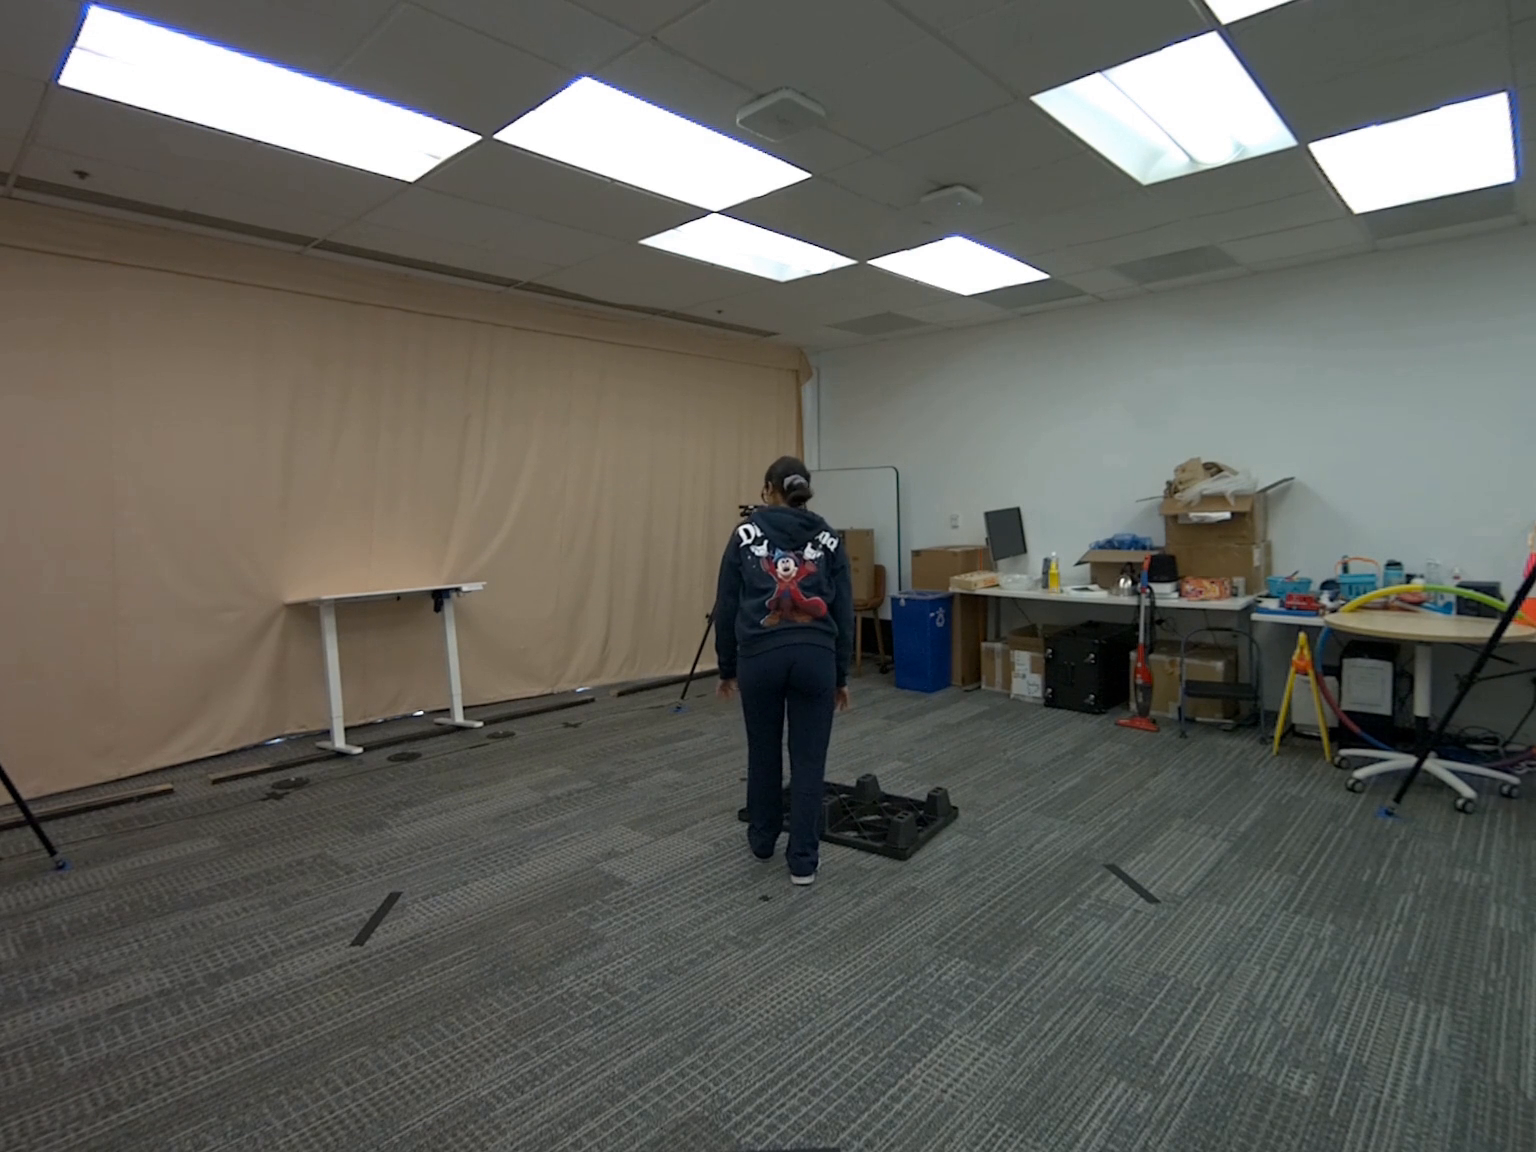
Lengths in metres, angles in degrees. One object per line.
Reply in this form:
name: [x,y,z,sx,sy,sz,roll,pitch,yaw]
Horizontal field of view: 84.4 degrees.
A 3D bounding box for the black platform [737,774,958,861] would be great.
black platform: [0.356,1.009,3.729,0.830,0.143,0.588,2,5,35]
